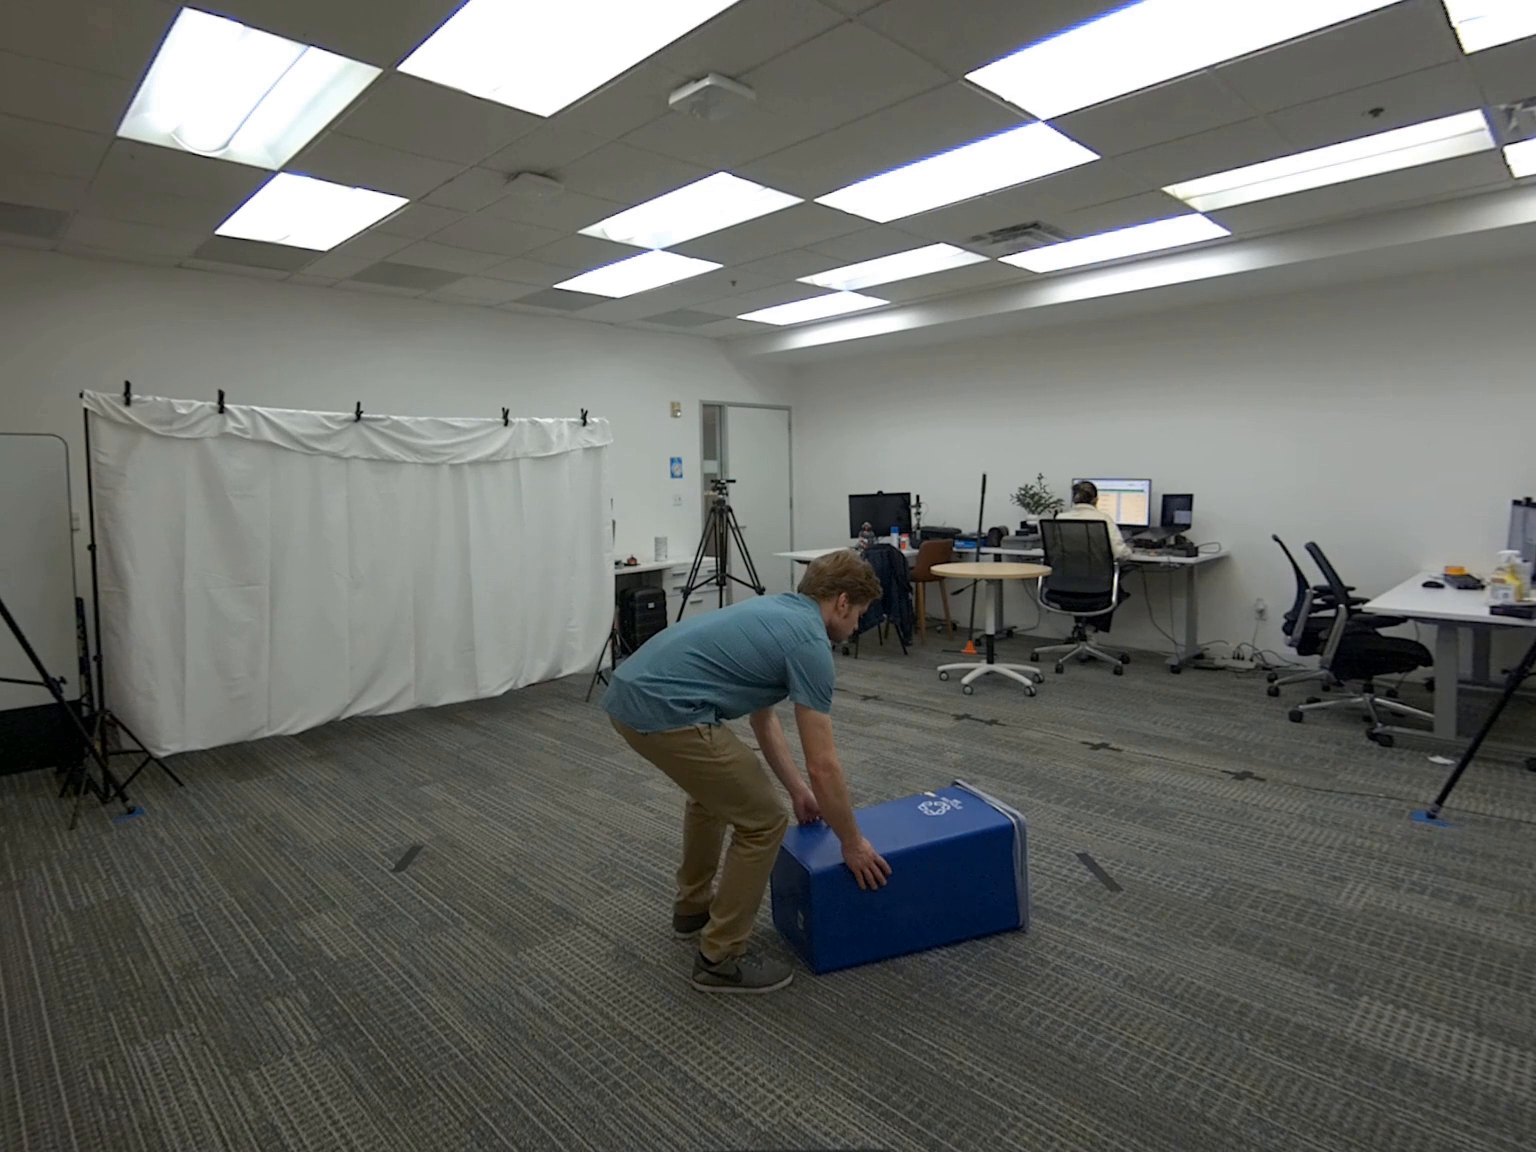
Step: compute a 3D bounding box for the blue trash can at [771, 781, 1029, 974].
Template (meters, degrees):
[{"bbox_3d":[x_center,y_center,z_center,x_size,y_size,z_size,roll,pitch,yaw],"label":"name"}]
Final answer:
[{"bbox_3d":[0.404,0.929,2.636,0.701,0.376,0.382,-7,7,-21],"label":"blue trash can"}]
